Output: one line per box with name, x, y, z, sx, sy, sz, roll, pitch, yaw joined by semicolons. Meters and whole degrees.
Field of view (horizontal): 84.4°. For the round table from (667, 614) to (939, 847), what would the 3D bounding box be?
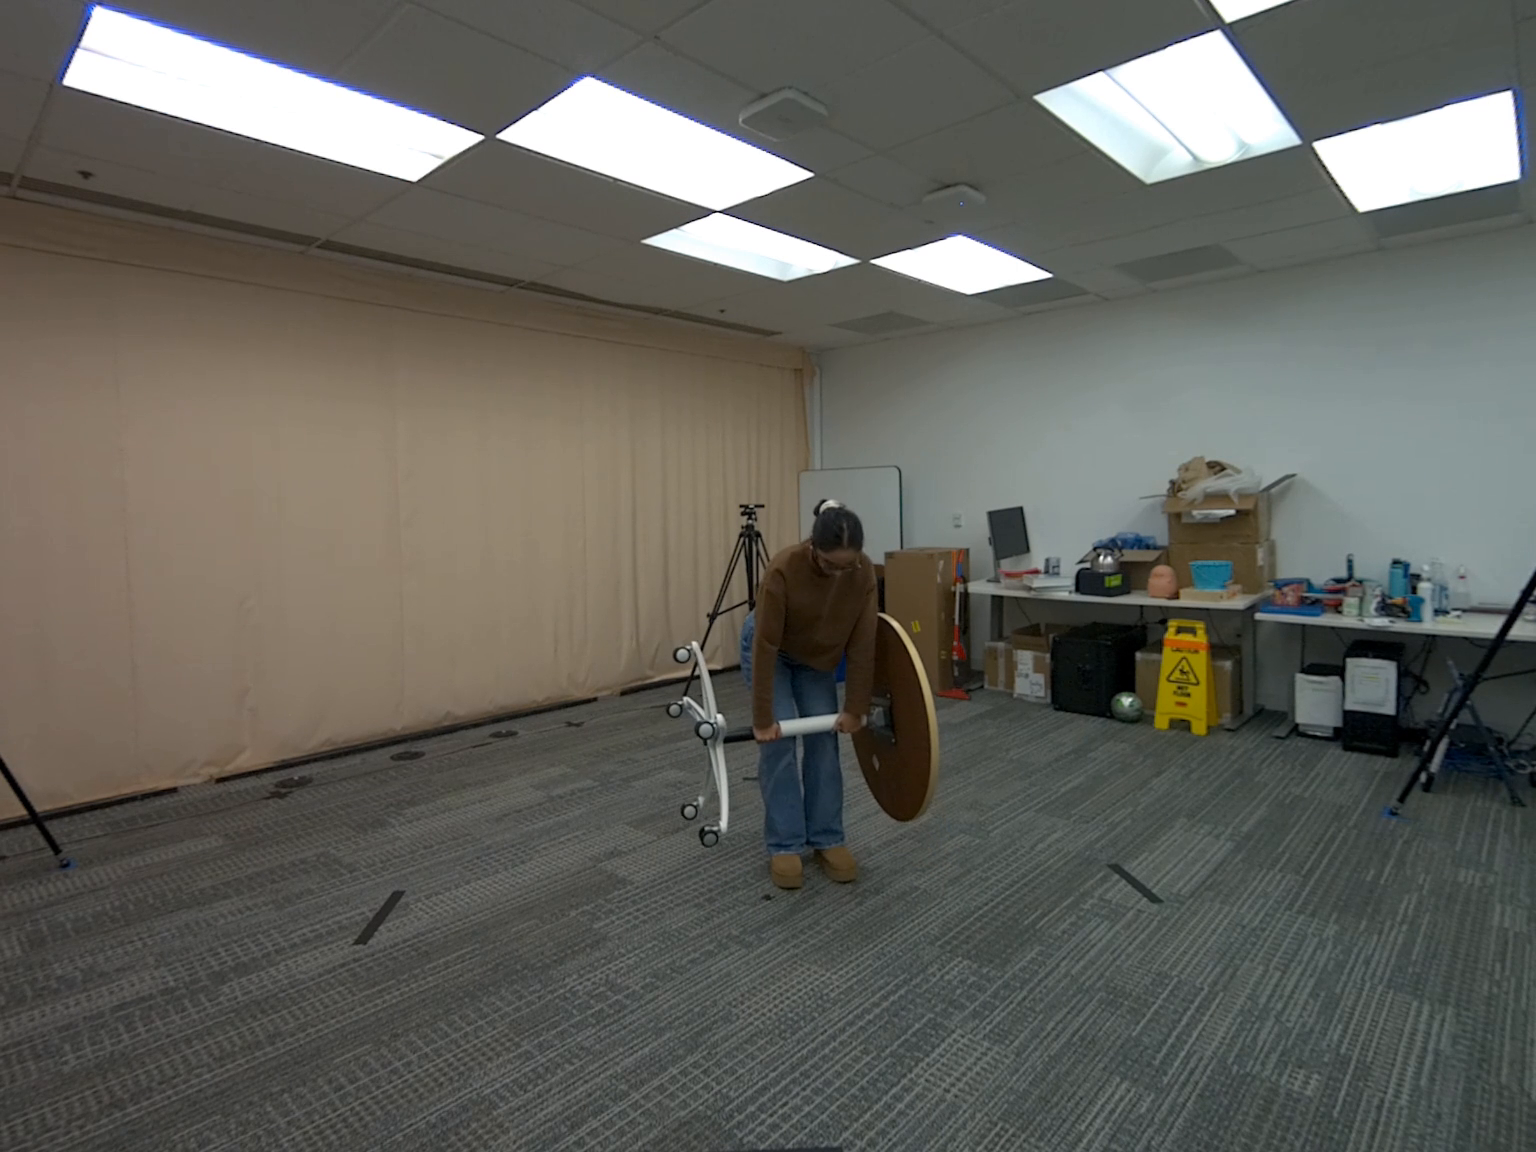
round table;0.076;0.572;3.084;0.784;0.761;0.776;-6;5;-14
